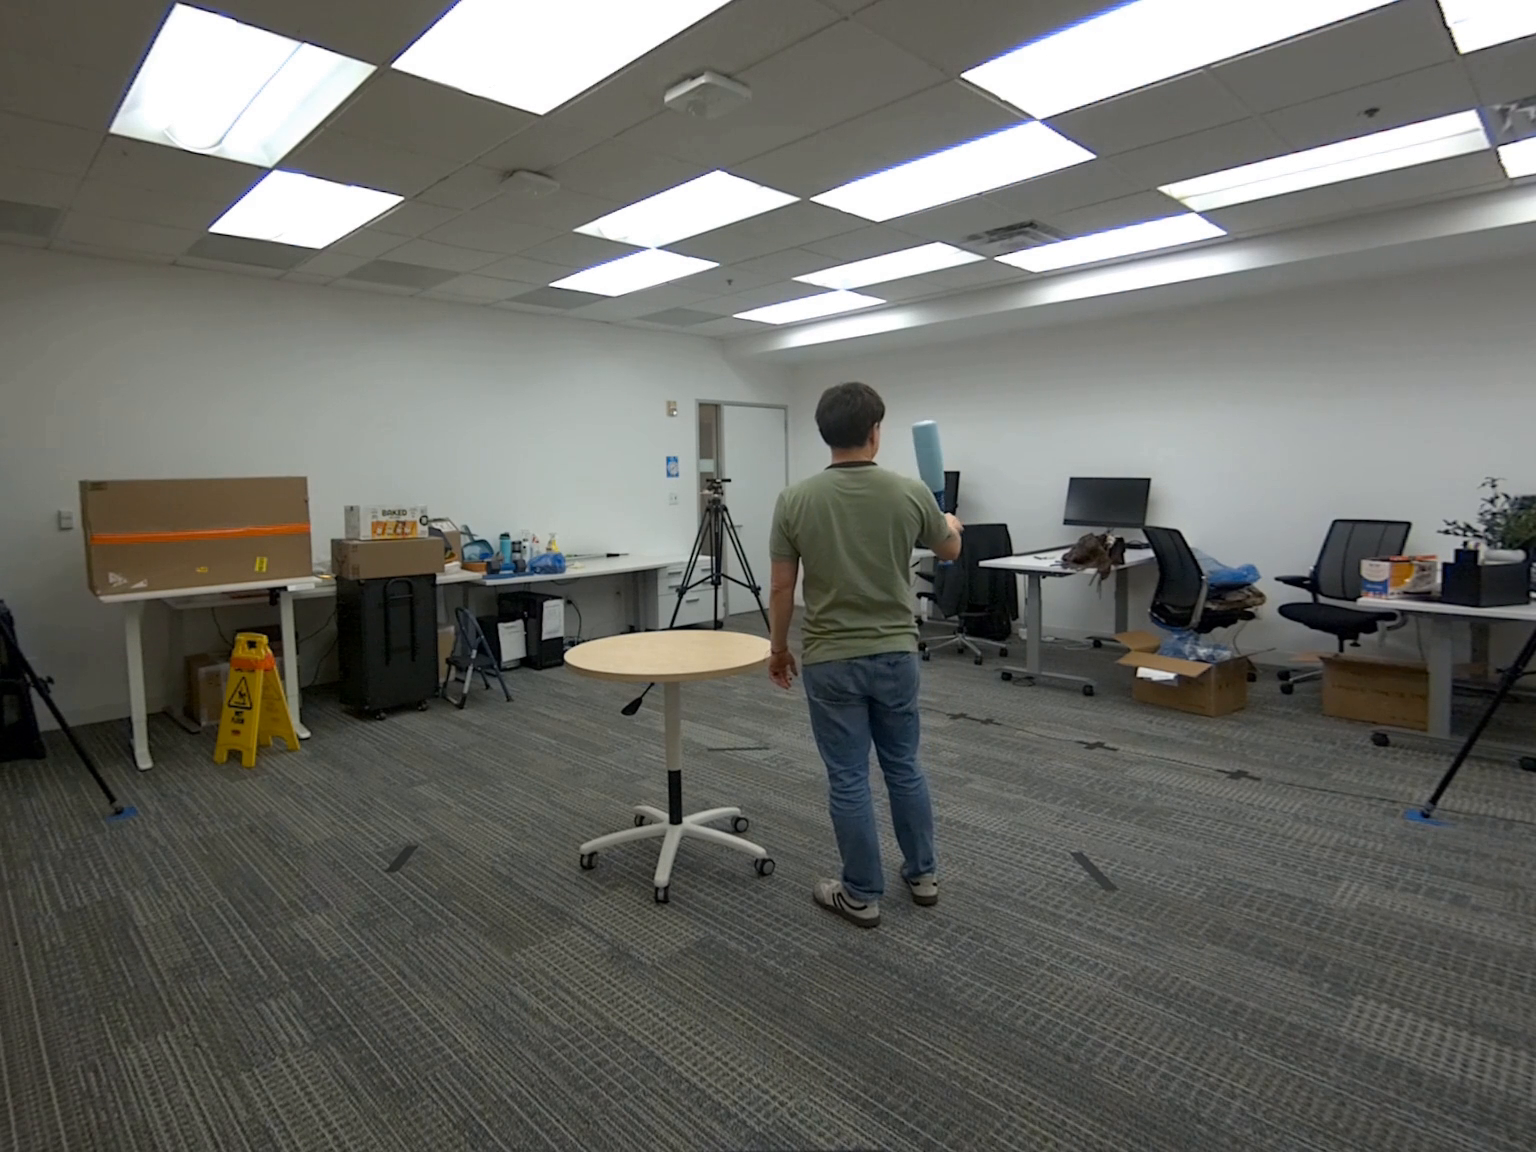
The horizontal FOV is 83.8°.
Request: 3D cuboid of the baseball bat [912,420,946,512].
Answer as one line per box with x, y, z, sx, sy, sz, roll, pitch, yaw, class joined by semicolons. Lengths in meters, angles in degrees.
0.612;-0.290;3.085;0.089;0.535;0.090;-11;14;1;baseball bat
